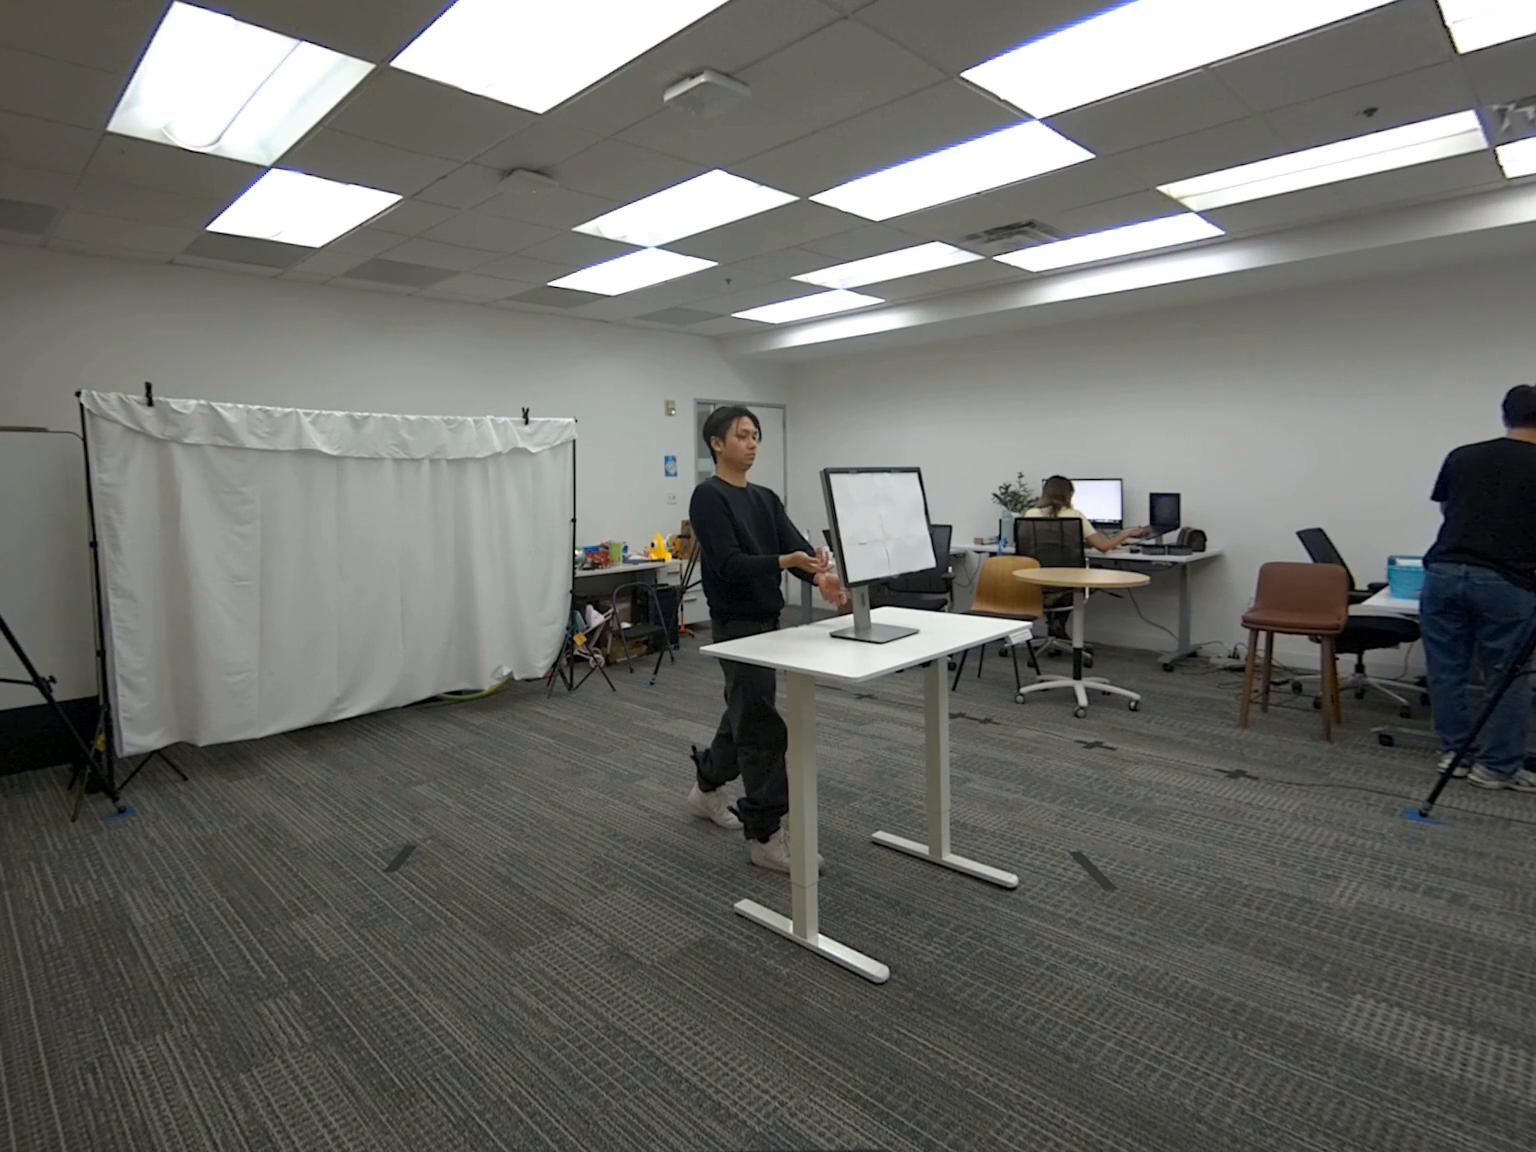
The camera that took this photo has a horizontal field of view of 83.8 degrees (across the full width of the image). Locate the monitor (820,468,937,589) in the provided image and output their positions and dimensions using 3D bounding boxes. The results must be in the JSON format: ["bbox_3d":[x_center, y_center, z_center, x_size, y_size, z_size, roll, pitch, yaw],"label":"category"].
[{"bbox_3d":[0.342,-0.075,2.756,0.193,0.520,0.525,4,7,37],"label":"monitor"}]
